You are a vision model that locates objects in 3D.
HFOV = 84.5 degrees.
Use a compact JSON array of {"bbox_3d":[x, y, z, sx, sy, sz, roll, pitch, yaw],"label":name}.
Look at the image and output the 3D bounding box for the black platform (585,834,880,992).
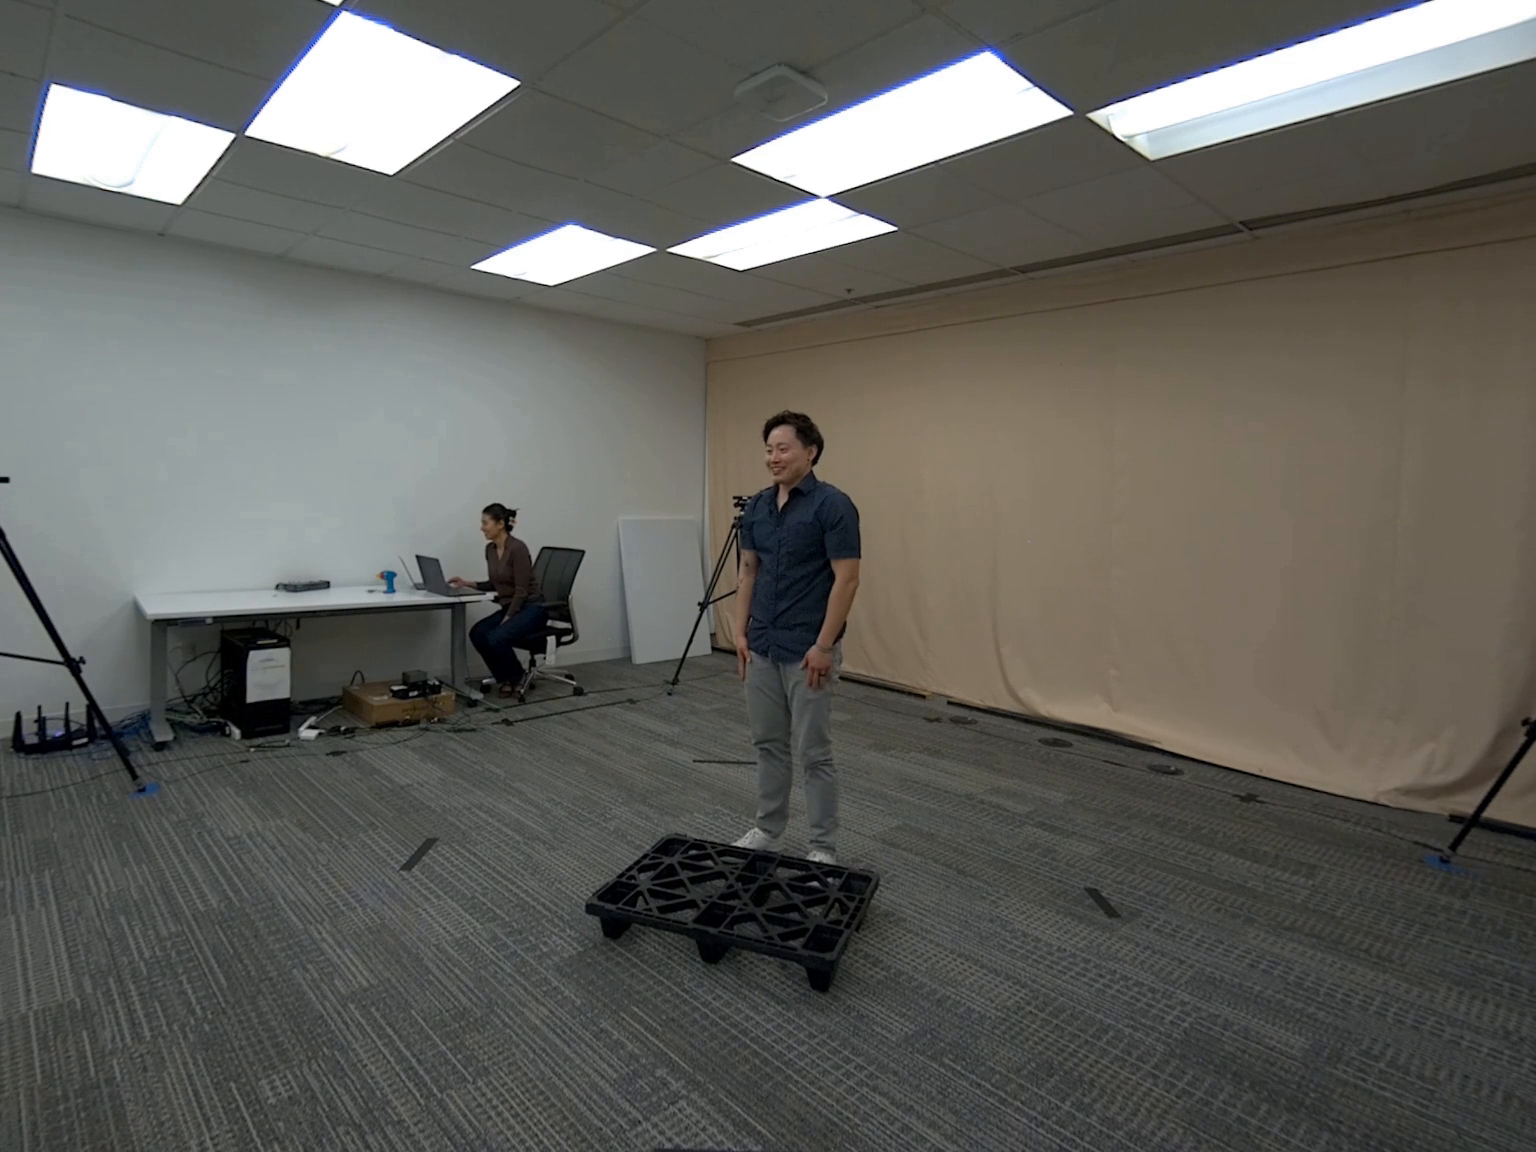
[{"bbox_3d":[-0.105,1.071,2.727,0.819,0.143,0.596,4,5,21],"label":"black platform"}]
